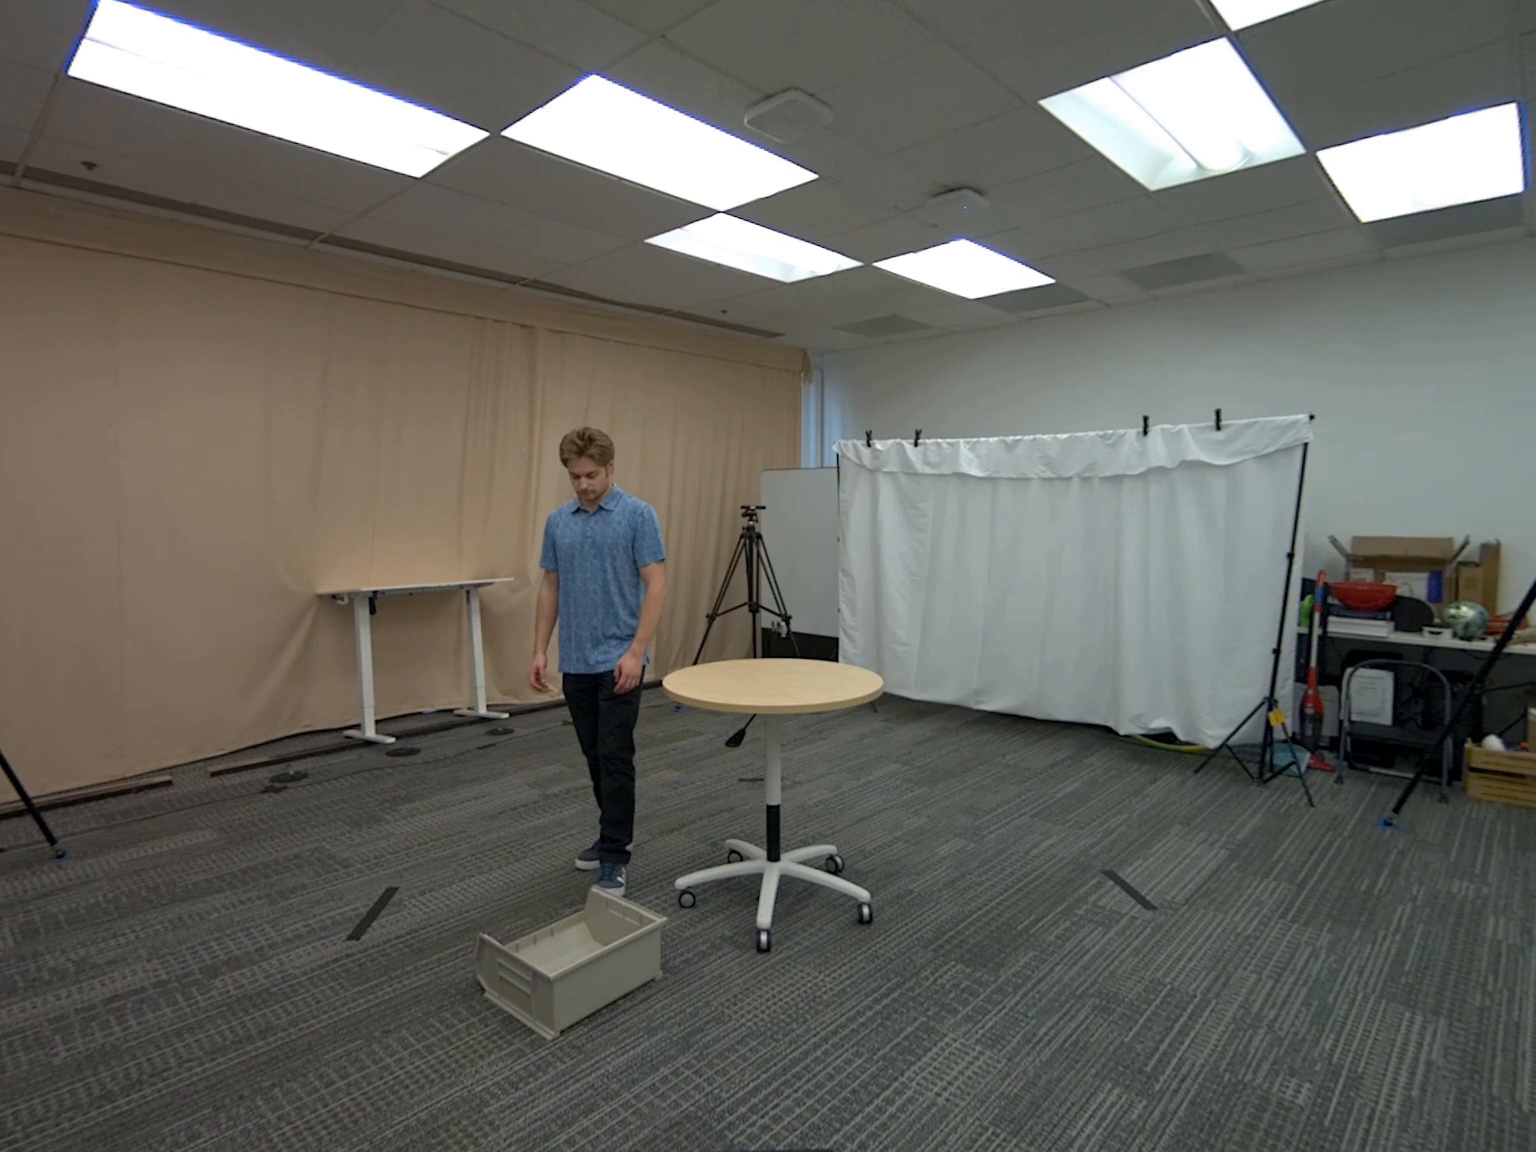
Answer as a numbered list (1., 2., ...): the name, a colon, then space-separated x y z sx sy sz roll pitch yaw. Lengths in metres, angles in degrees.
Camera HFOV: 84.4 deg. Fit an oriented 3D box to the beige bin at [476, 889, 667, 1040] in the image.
1. beige bin: -0.572 1.107 2.453 0.390 0.188 0.409 4 5 40
